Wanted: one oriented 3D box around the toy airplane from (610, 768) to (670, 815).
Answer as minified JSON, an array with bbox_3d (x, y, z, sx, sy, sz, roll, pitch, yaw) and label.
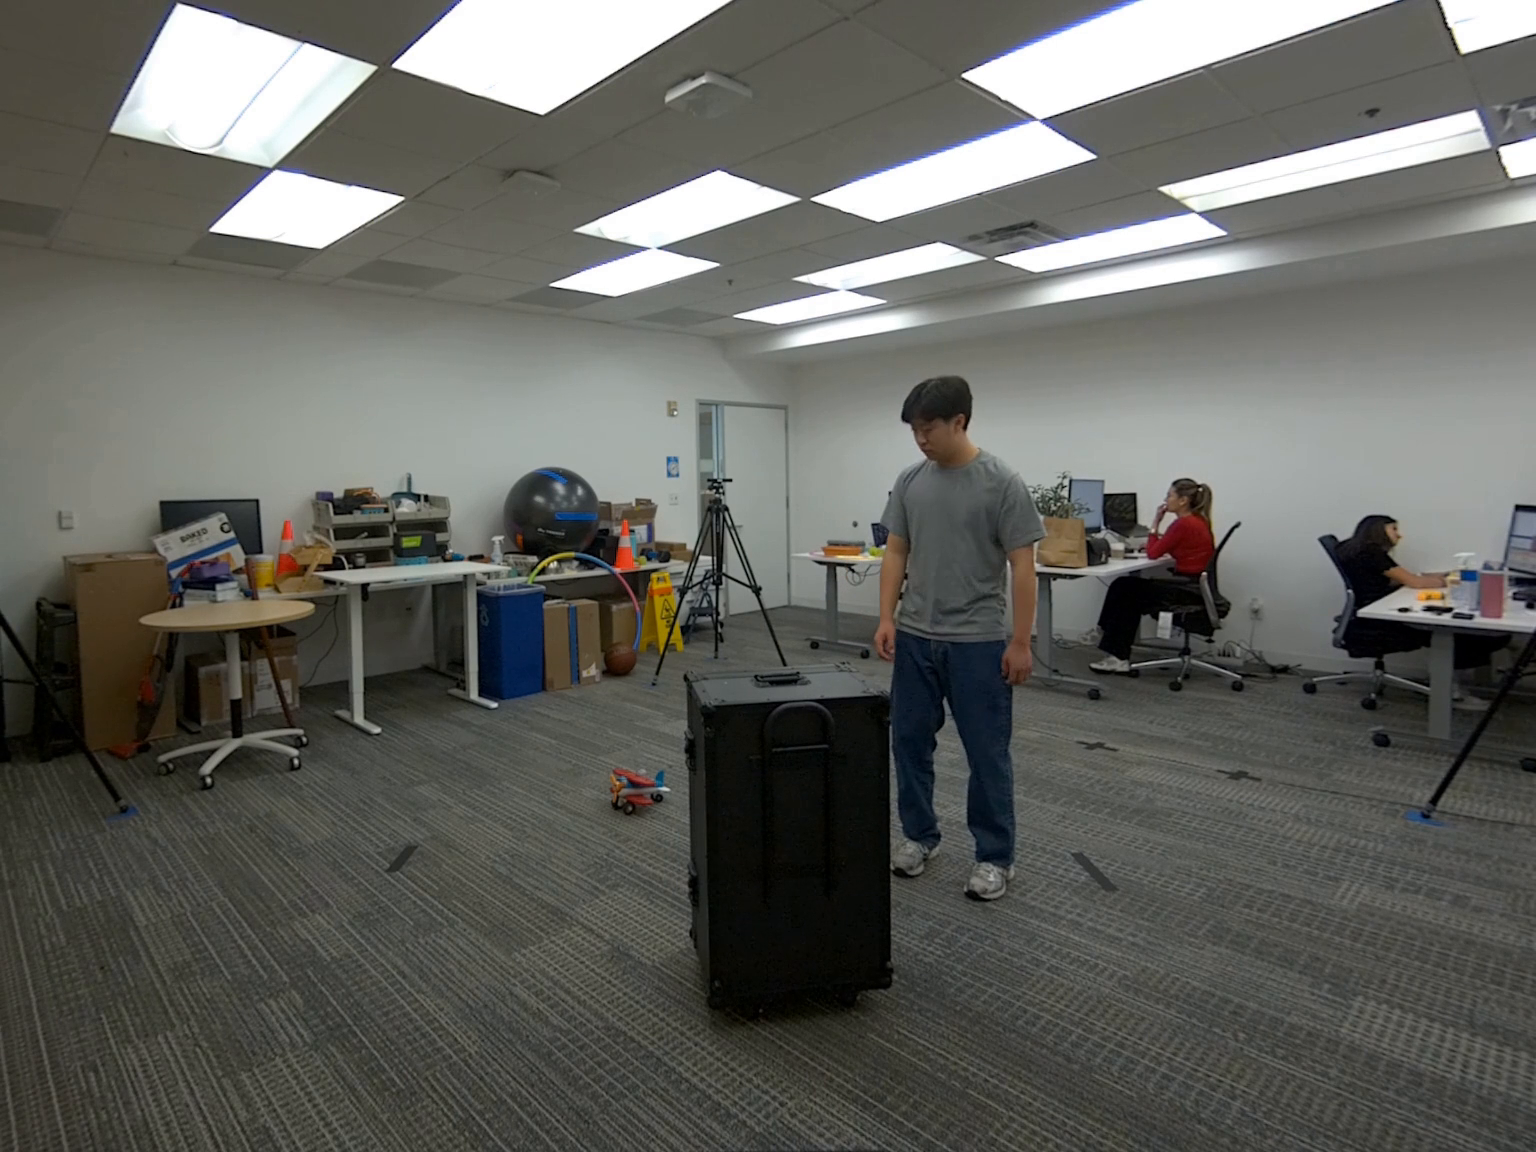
[{"bbox_3d":[-0.565,0.918,3.686,0.256,0.155,0.256,1,7,19],"label":"toy airplane"}]
